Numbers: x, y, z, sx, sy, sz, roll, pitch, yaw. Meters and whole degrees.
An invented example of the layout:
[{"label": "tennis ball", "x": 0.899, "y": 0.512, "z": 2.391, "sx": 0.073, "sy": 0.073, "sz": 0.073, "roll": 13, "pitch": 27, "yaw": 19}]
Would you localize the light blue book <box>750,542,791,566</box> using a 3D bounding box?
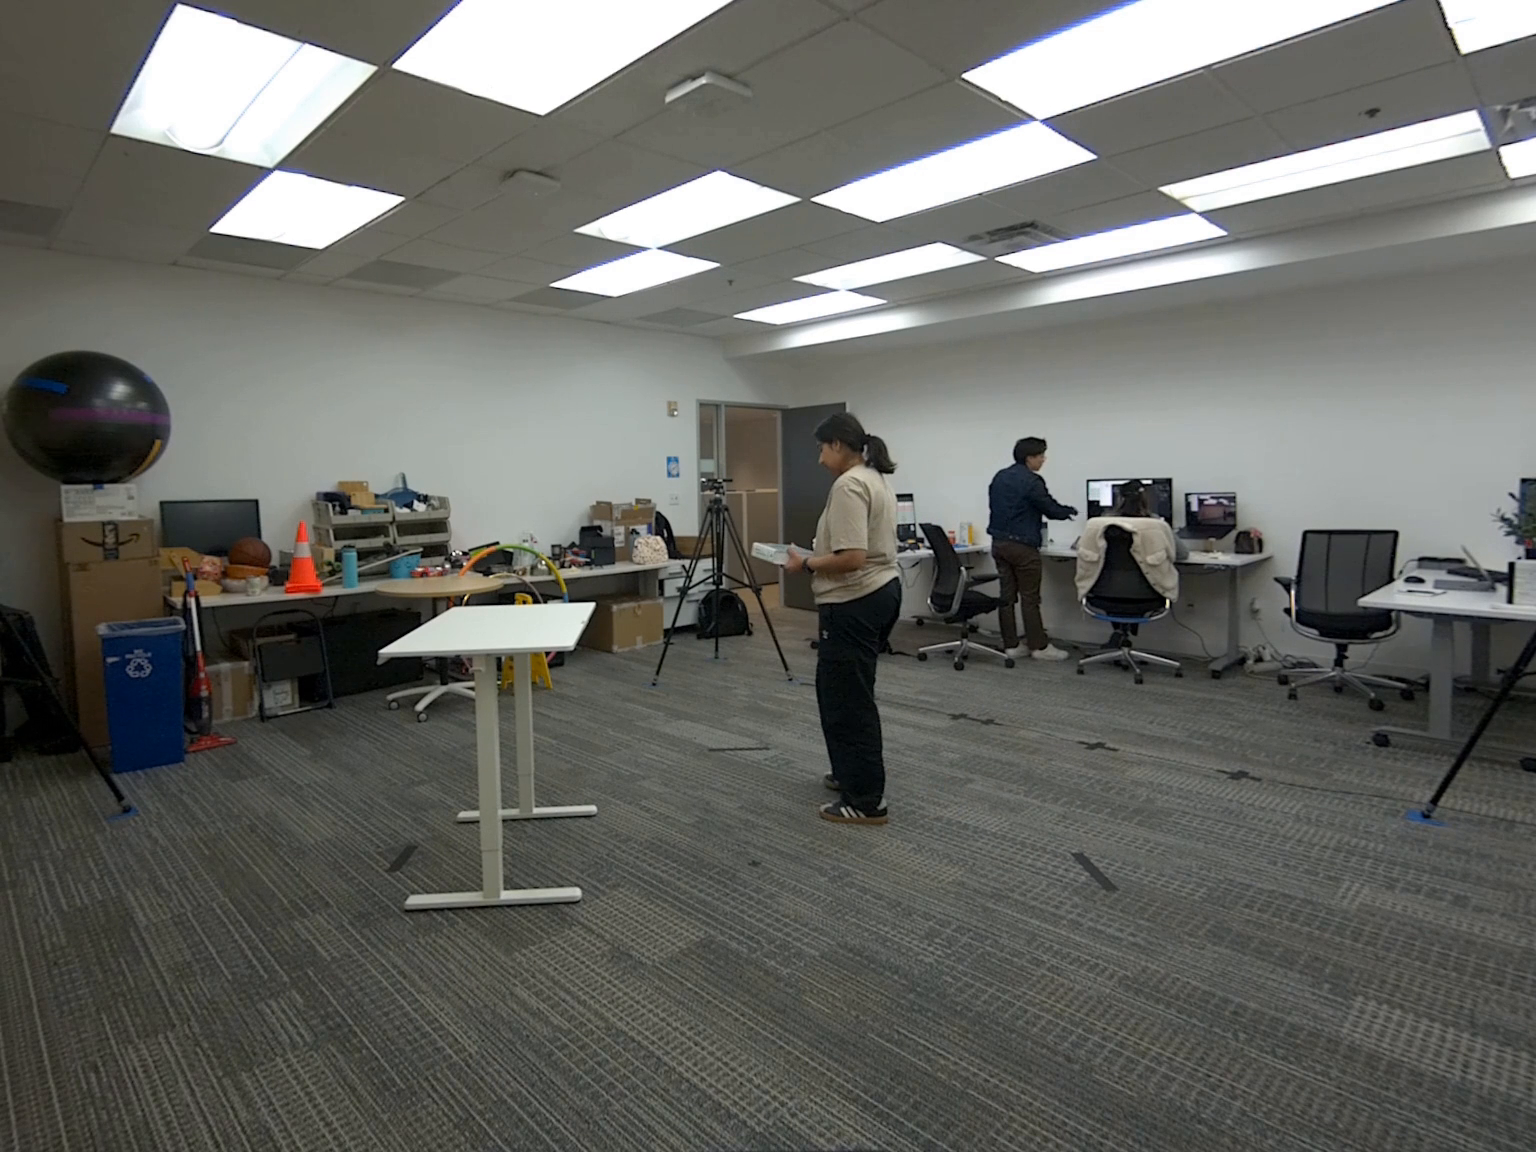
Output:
[{"label": "light blue book", "x": 0.081, "y": -0.088, "z": 3.595, "sx": 0.188, "sy": 0.059, "sz": 0.267, "roll": 2, "pitch": 7, "yaw": -18}]
